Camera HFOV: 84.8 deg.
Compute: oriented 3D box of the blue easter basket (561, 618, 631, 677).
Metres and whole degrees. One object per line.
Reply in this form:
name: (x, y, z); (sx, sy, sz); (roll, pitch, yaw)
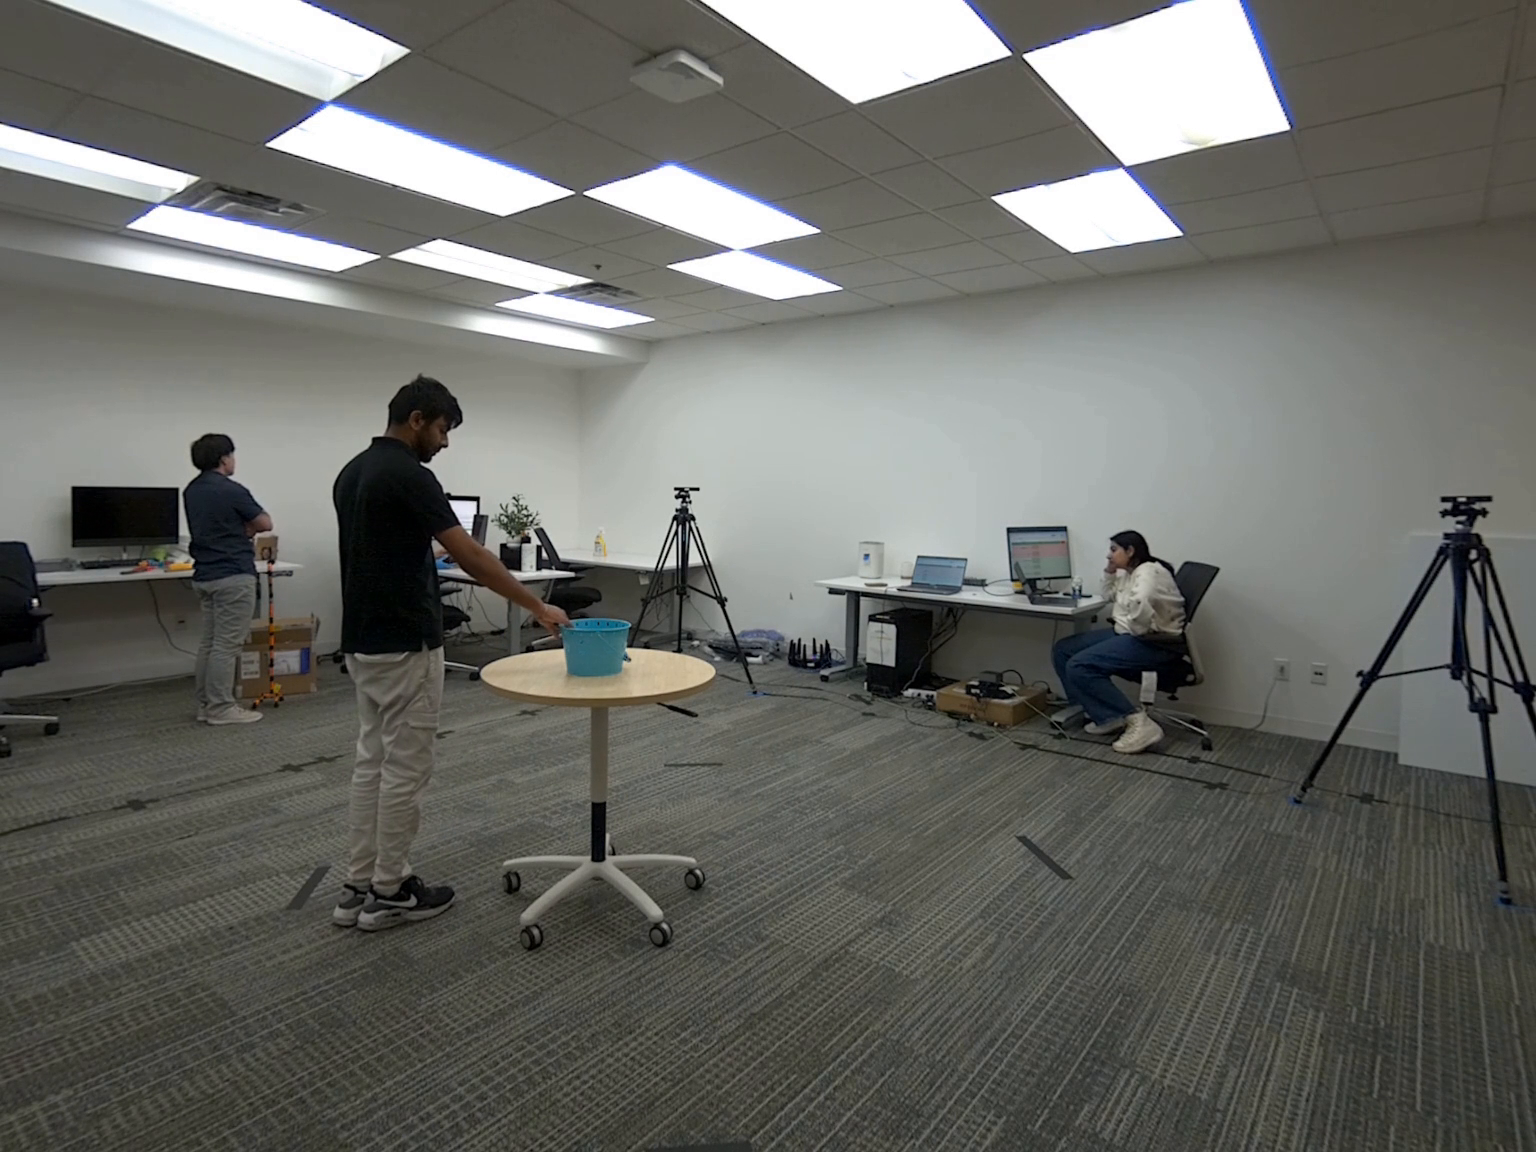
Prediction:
blue easter basket: (-0.580, 0.241, 2.789); (0.243, 0.155, 0.245); (1, 6, -2)
